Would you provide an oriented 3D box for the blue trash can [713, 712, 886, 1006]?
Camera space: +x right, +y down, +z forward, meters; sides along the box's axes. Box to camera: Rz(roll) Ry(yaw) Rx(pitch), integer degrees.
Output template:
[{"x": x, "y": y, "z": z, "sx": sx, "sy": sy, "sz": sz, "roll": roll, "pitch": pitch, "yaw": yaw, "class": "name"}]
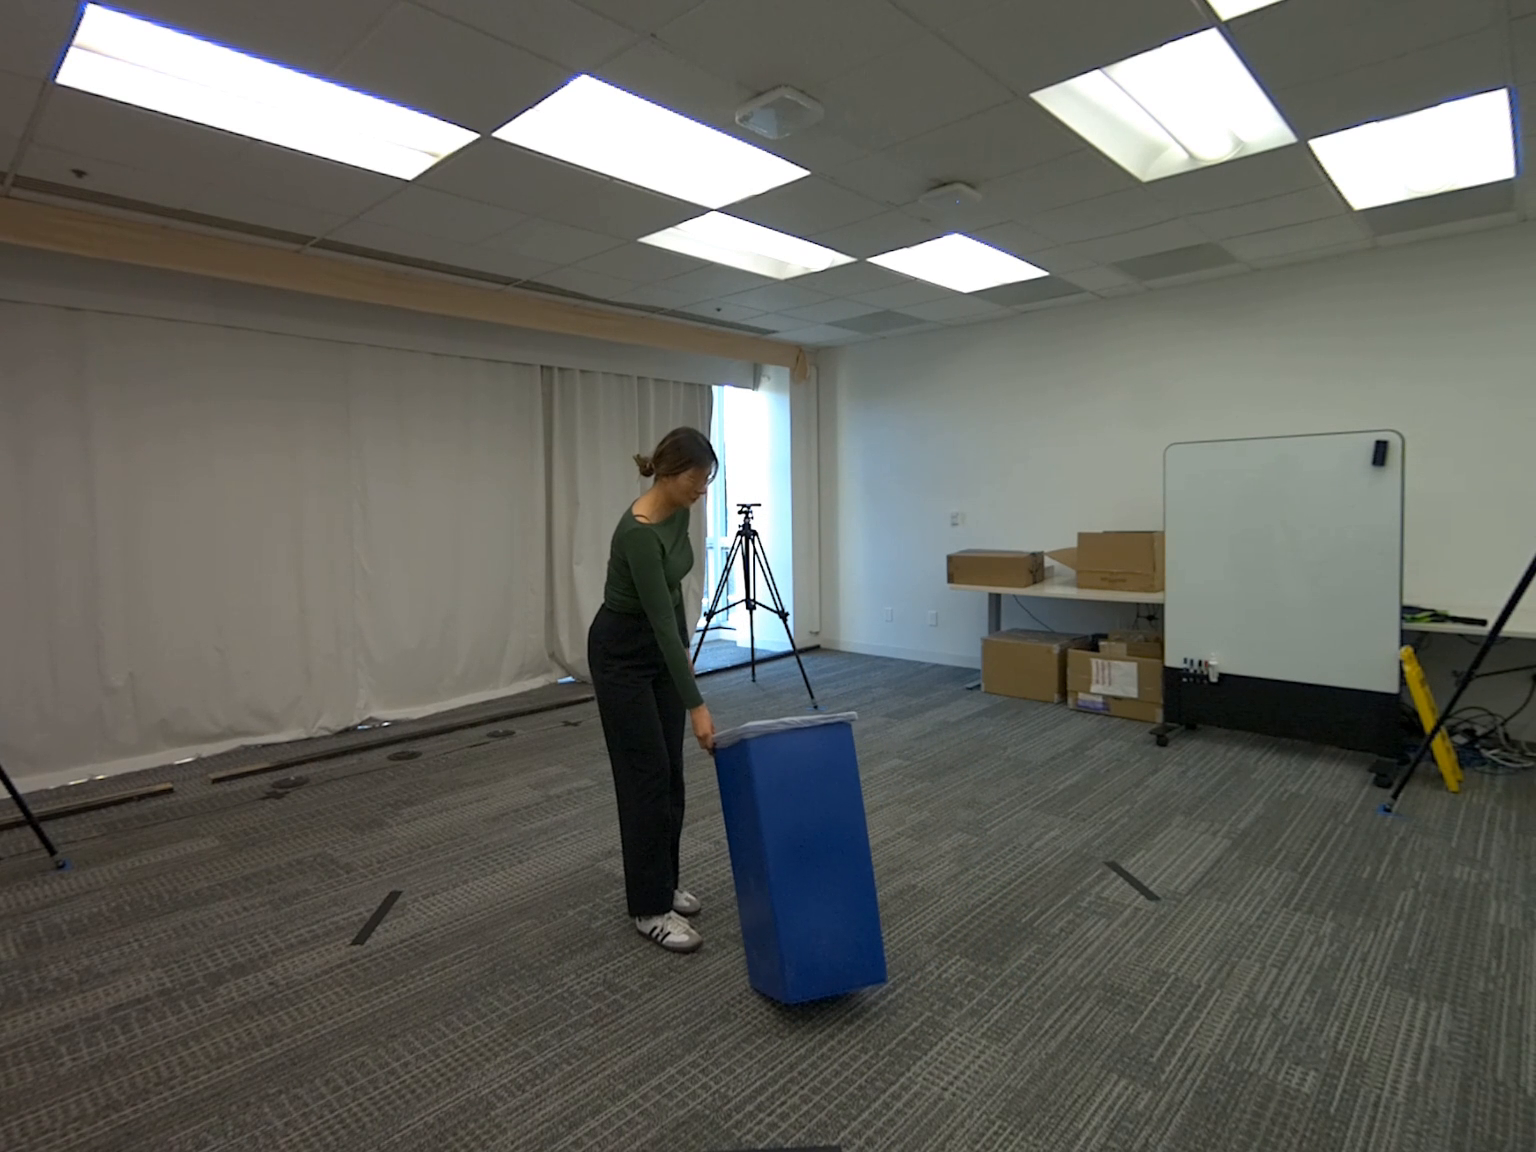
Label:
[{"x": 0.096, "y": 0.793, "z": 2.440, "sx": 0.370, "sy": 0.722, "sz": 0.377, "roll": -2, "pitch": -17, "yaw": -22, "class": "blue trash can"}]
